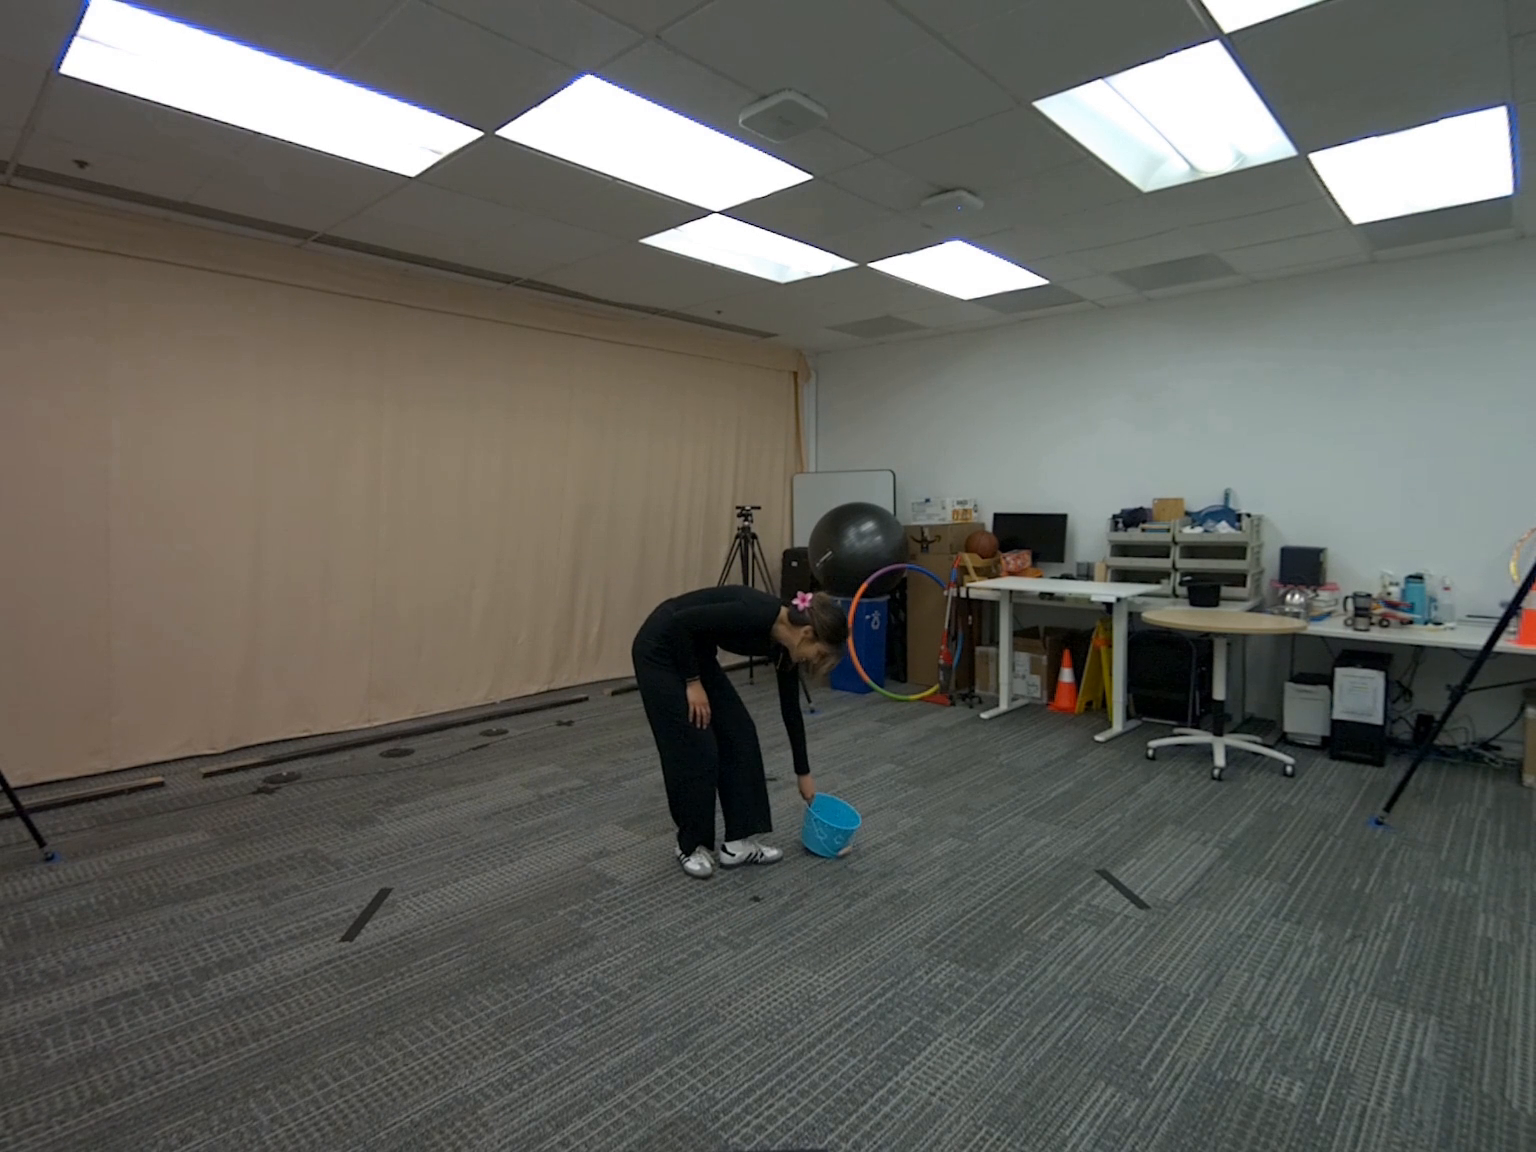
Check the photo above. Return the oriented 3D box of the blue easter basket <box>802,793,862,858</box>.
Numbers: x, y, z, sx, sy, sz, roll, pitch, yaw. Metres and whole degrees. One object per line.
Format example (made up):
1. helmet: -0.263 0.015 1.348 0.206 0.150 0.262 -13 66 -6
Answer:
1. blue easter basket: 0.232 1.008 3.376 0.242 0.155 0.246 14 13 -5
